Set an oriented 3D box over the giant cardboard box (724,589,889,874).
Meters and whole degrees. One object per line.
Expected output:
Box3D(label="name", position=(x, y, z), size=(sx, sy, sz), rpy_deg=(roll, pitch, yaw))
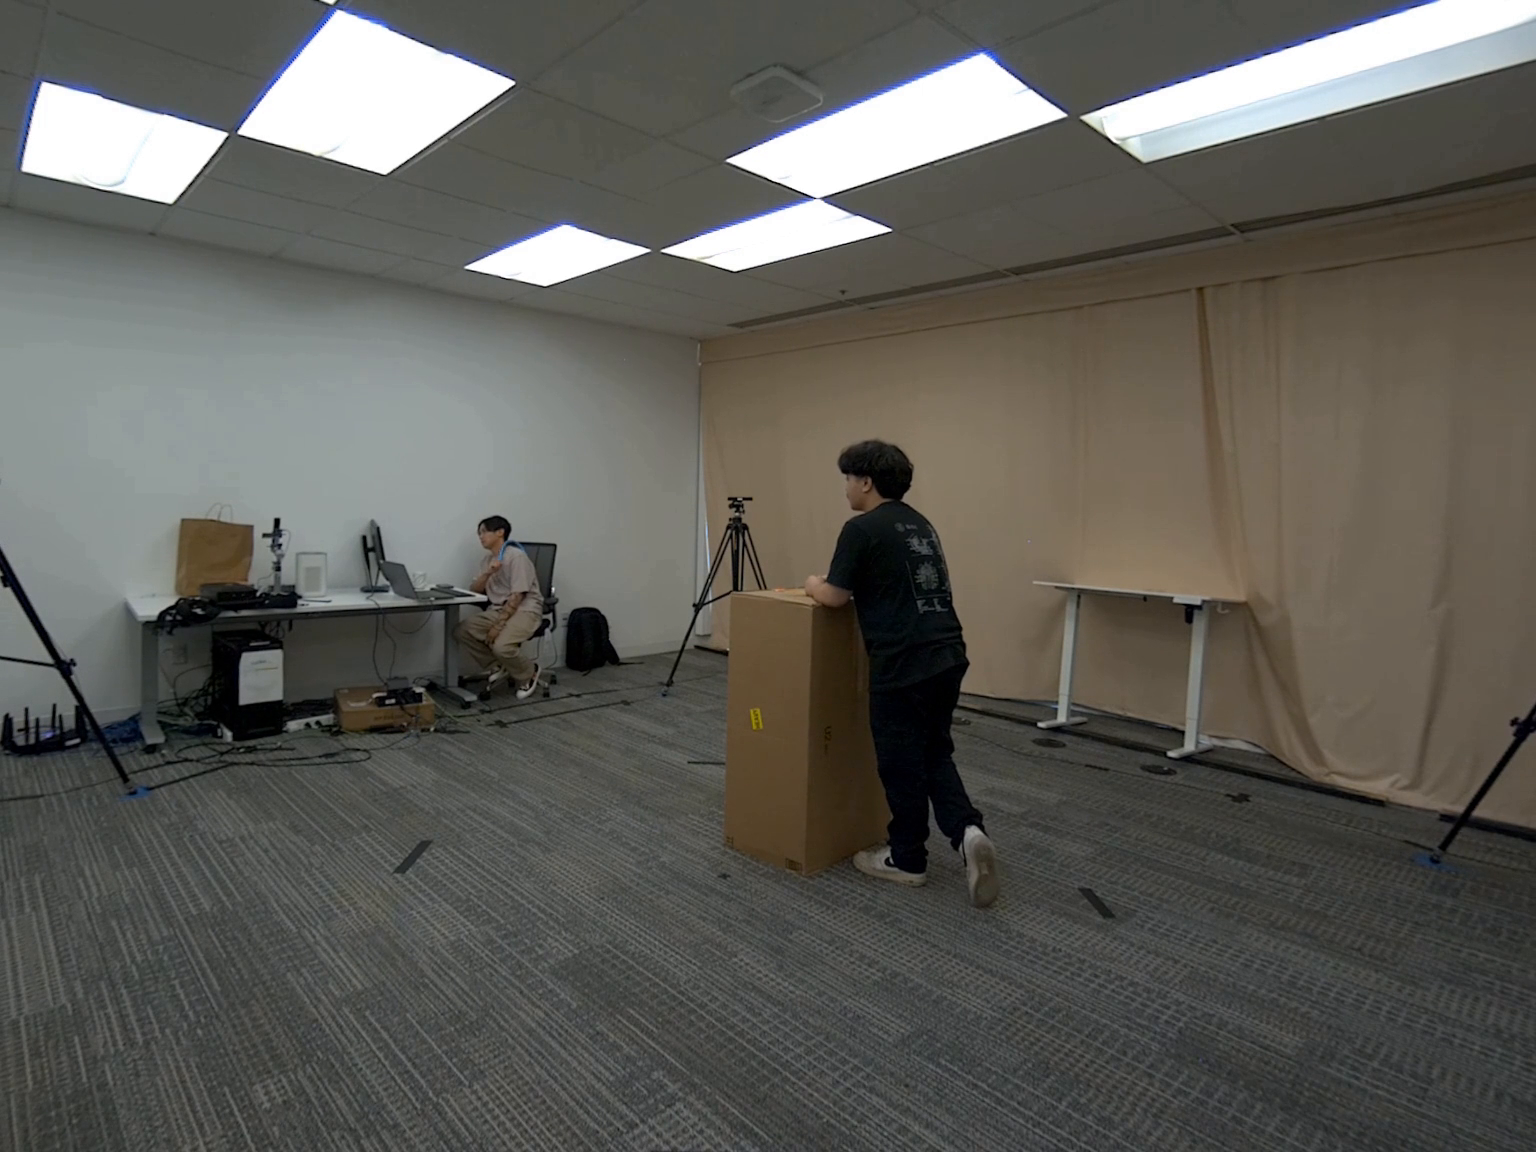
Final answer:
Box3D(label="giant cardboard box", position=(0.171, 0.577, 3.438), size=(0.458, 1.025, 0.570), rpy_deg=(3, 3, 44))
